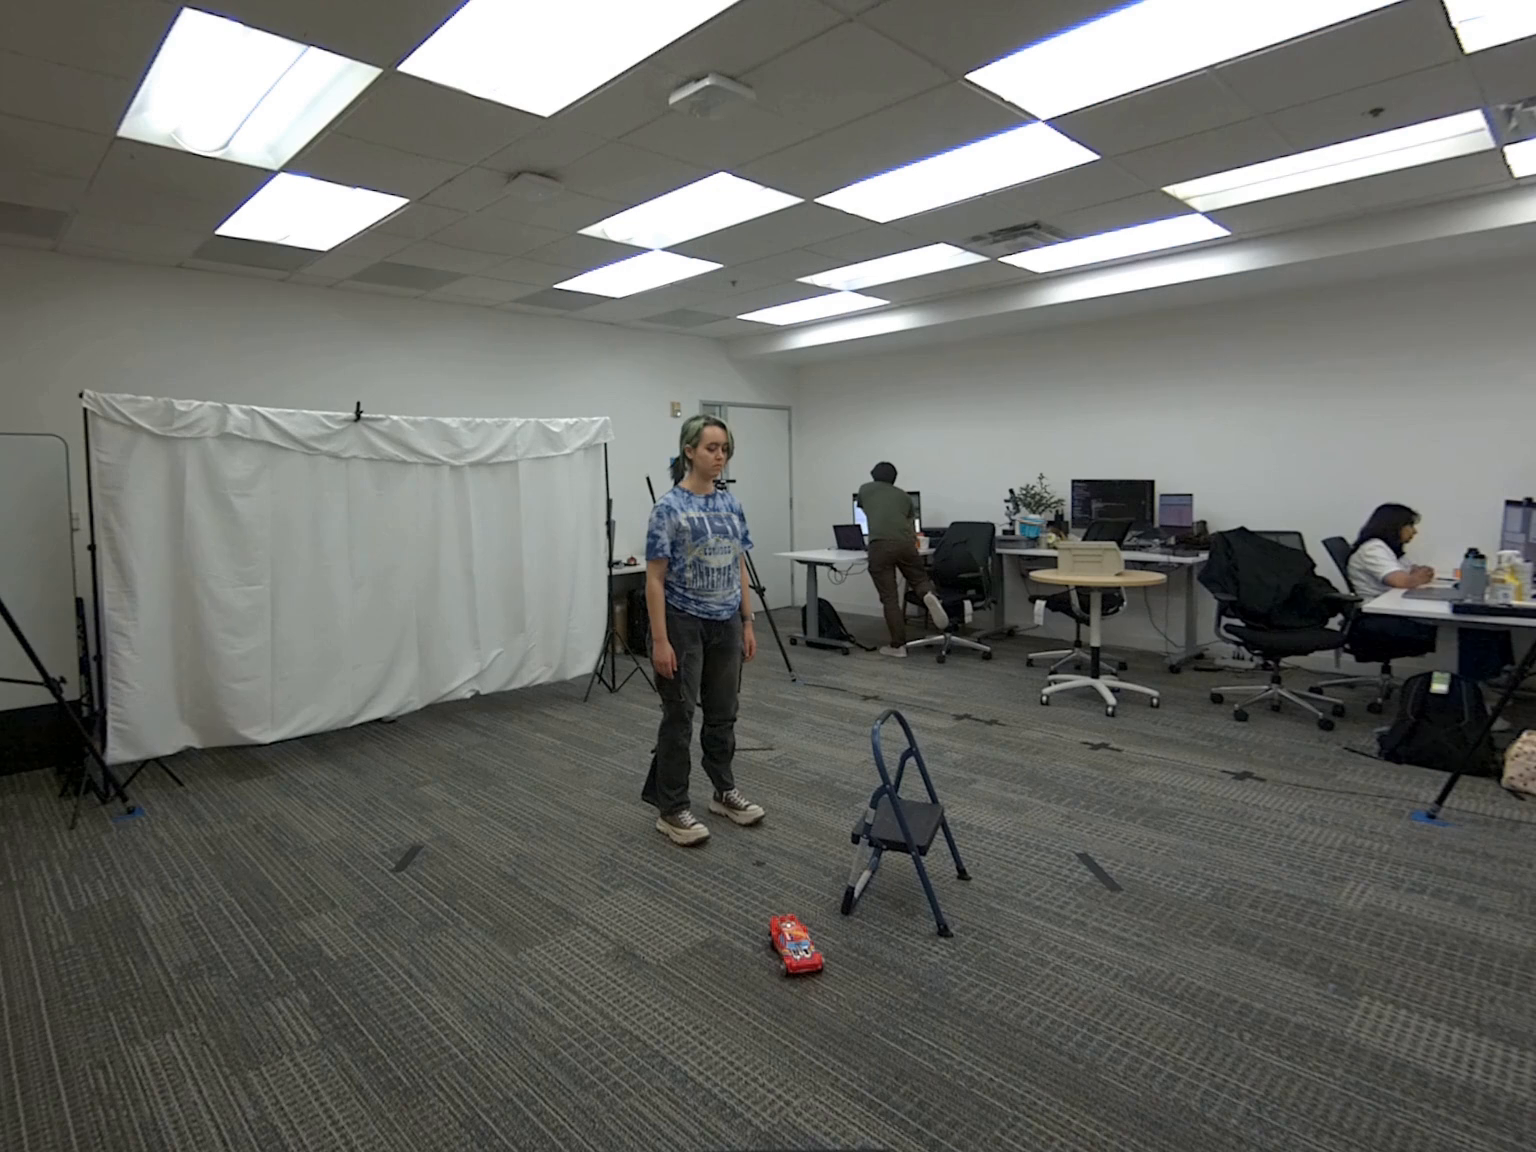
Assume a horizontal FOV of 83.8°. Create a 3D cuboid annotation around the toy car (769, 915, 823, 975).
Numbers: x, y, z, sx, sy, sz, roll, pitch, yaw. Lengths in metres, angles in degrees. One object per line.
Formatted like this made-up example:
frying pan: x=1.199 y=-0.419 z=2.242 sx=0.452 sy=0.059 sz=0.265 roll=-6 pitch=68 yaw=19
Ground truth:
toy car: x=0.077 y=1.084 z=2.502 sx=0.129 sy=0.082 sz=0.261 roll=-3 pitch=16 yaw=-13
